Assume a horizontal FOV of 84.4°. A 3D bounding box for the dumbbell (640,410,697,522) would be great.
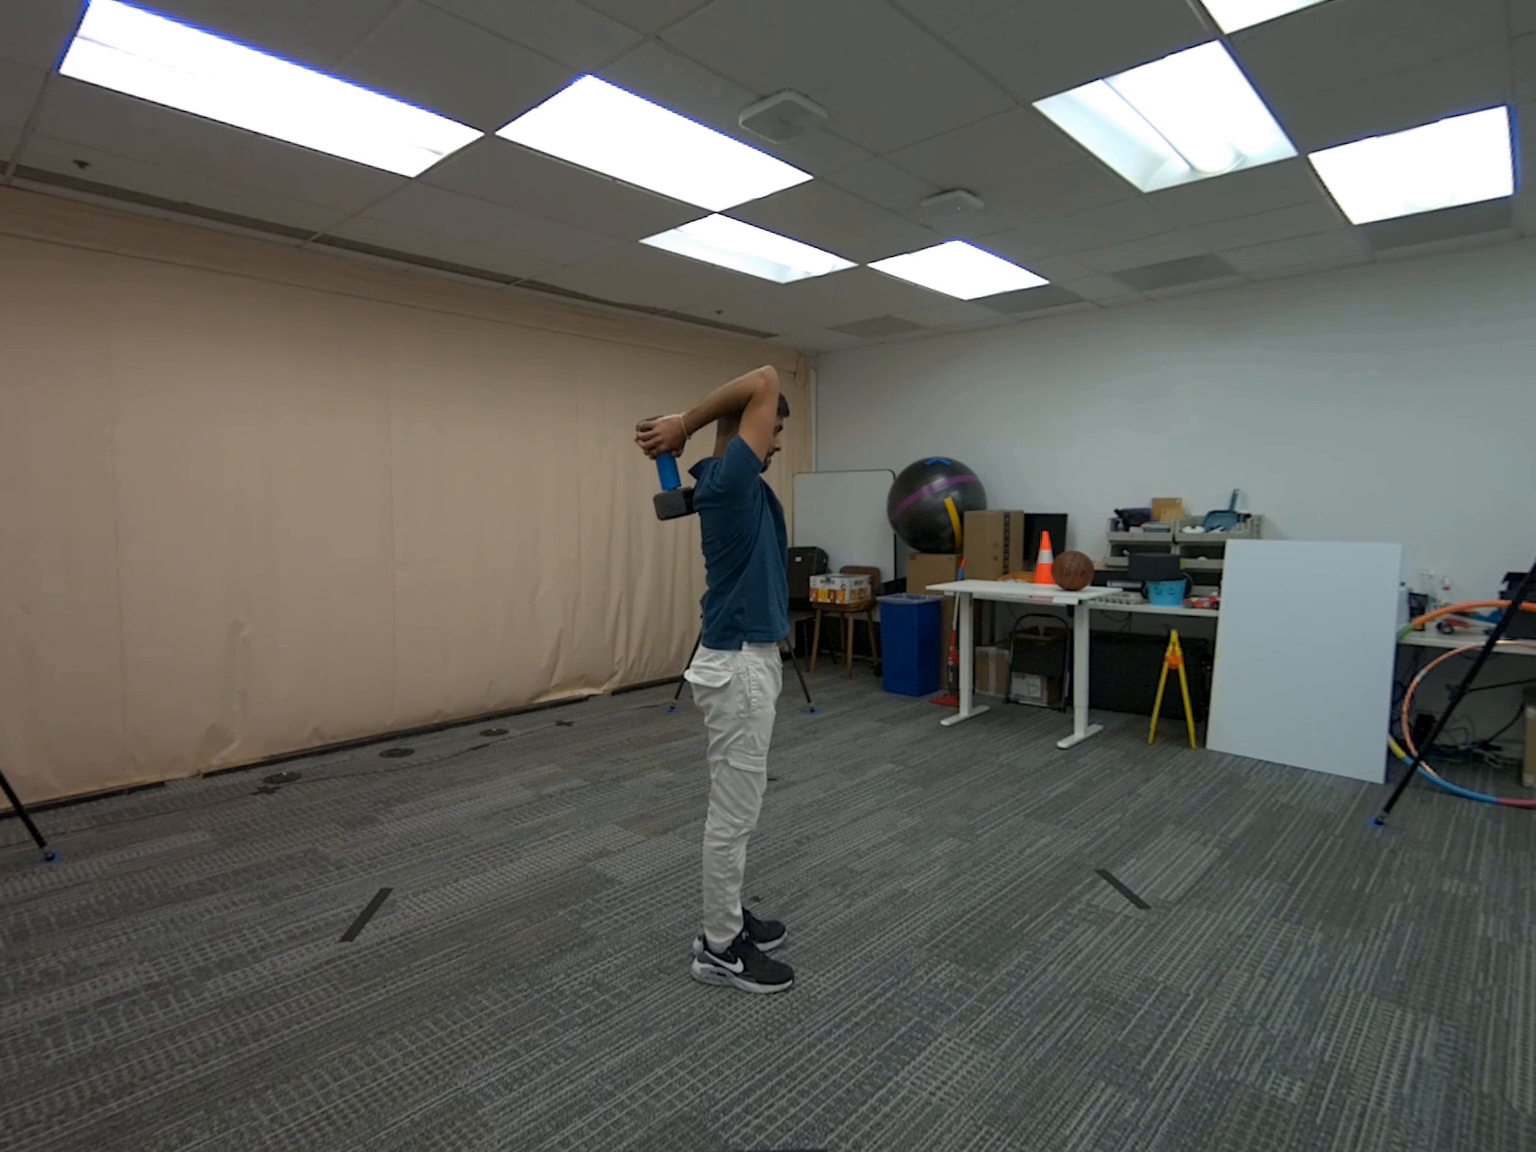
[{"bbox_3d":[-0.276,-0.314,2.408,0.123,0.292,0.109,-8,7,-1],"label":"dumbbell"}]
